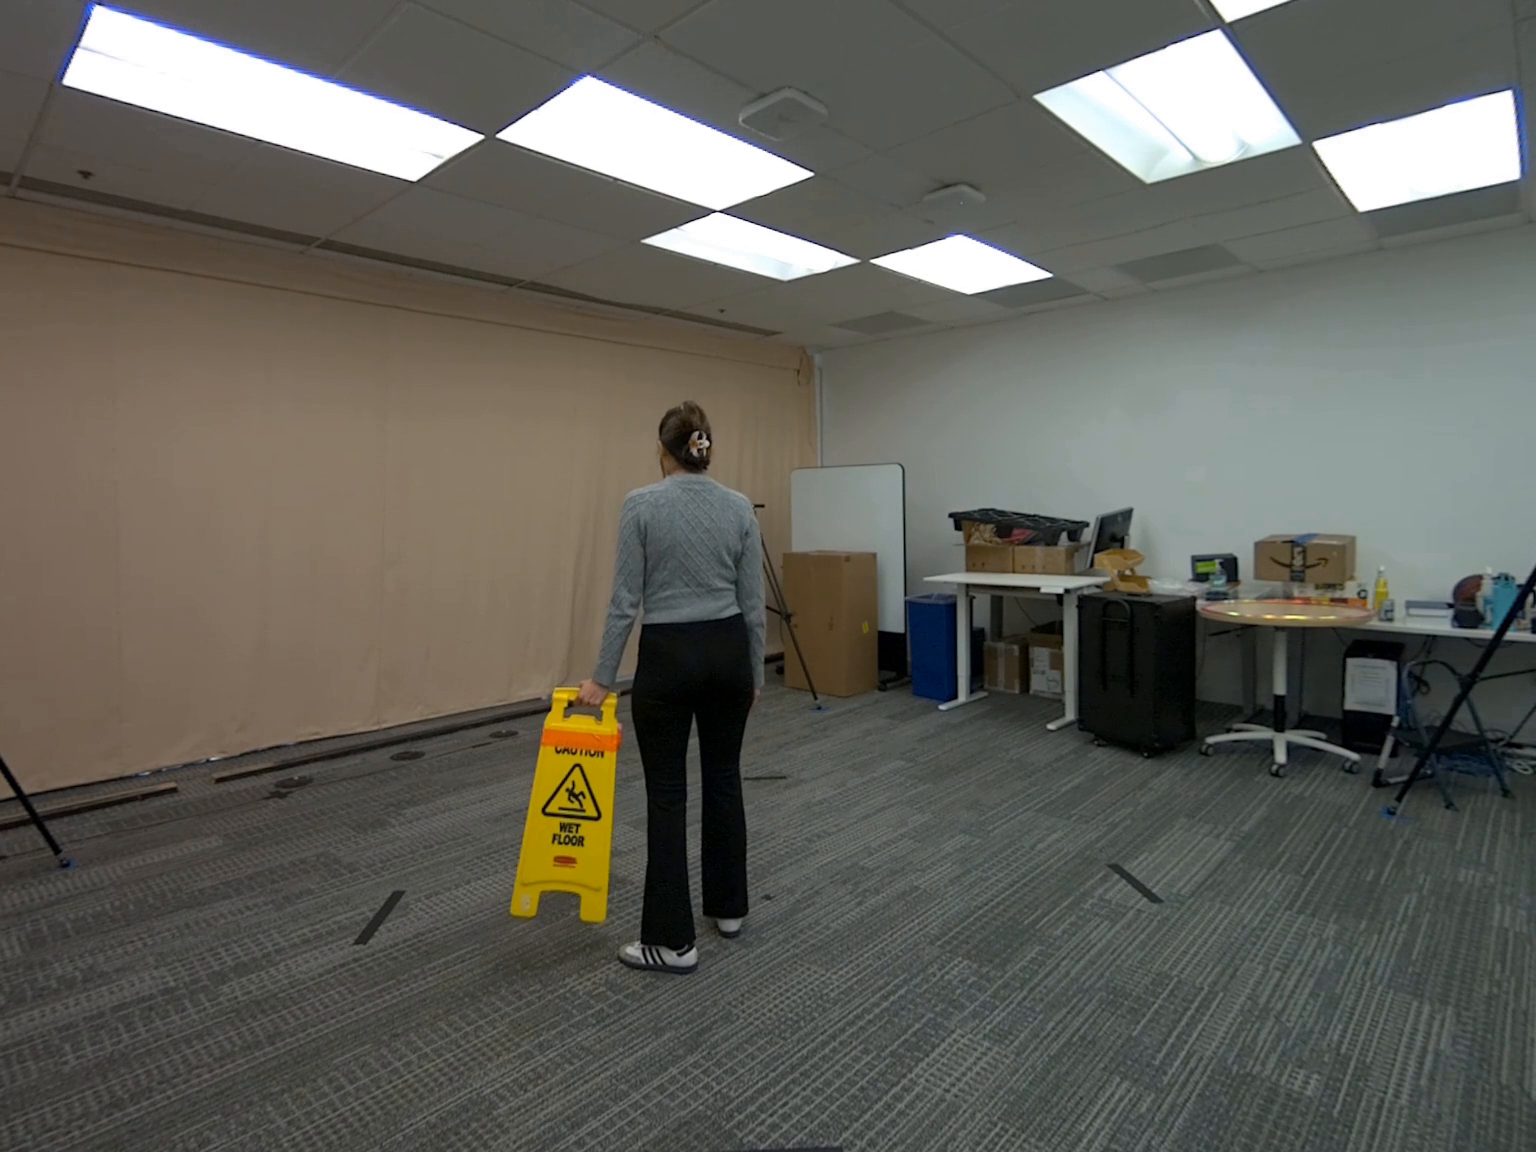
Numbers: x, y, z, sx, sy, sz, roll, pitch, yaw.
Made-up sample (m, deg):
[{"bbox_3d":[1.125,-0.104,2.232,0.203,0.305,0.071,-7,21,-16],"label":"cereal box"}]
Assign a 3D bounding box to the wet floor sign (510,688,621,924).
[{"bbox_3d":[-0.598,0.679,2.606,0.280,0.646,0.292,7,-1,-7],"label":"wet floor sign"}]
